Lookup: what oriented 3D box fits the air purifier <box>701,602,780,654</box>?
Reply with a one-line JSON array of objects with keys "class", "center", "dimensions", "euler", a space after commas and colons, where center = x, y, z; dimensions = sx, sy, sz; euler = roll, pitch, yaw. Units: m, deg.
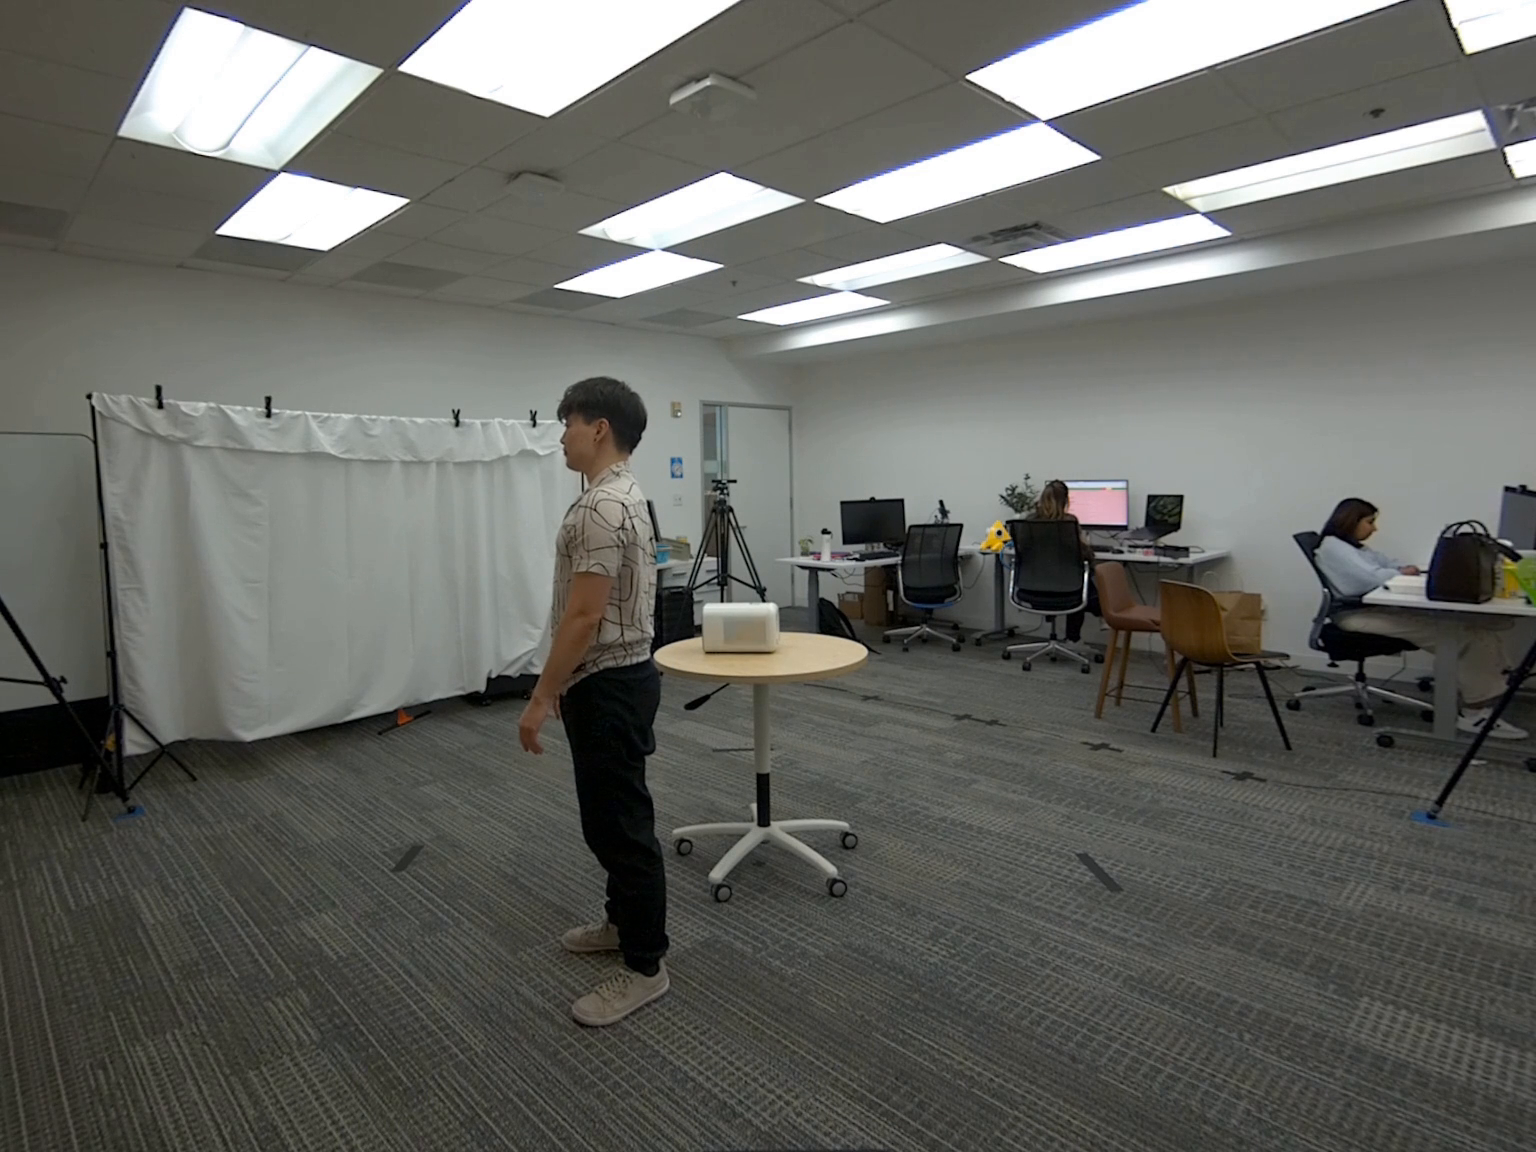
[{"class": "air purifier", "center": [-0.092, 0.183, 3.089], "dimensions": [0.267, 0.171, 0.171], "euler": [-1, 5, 6]}]
